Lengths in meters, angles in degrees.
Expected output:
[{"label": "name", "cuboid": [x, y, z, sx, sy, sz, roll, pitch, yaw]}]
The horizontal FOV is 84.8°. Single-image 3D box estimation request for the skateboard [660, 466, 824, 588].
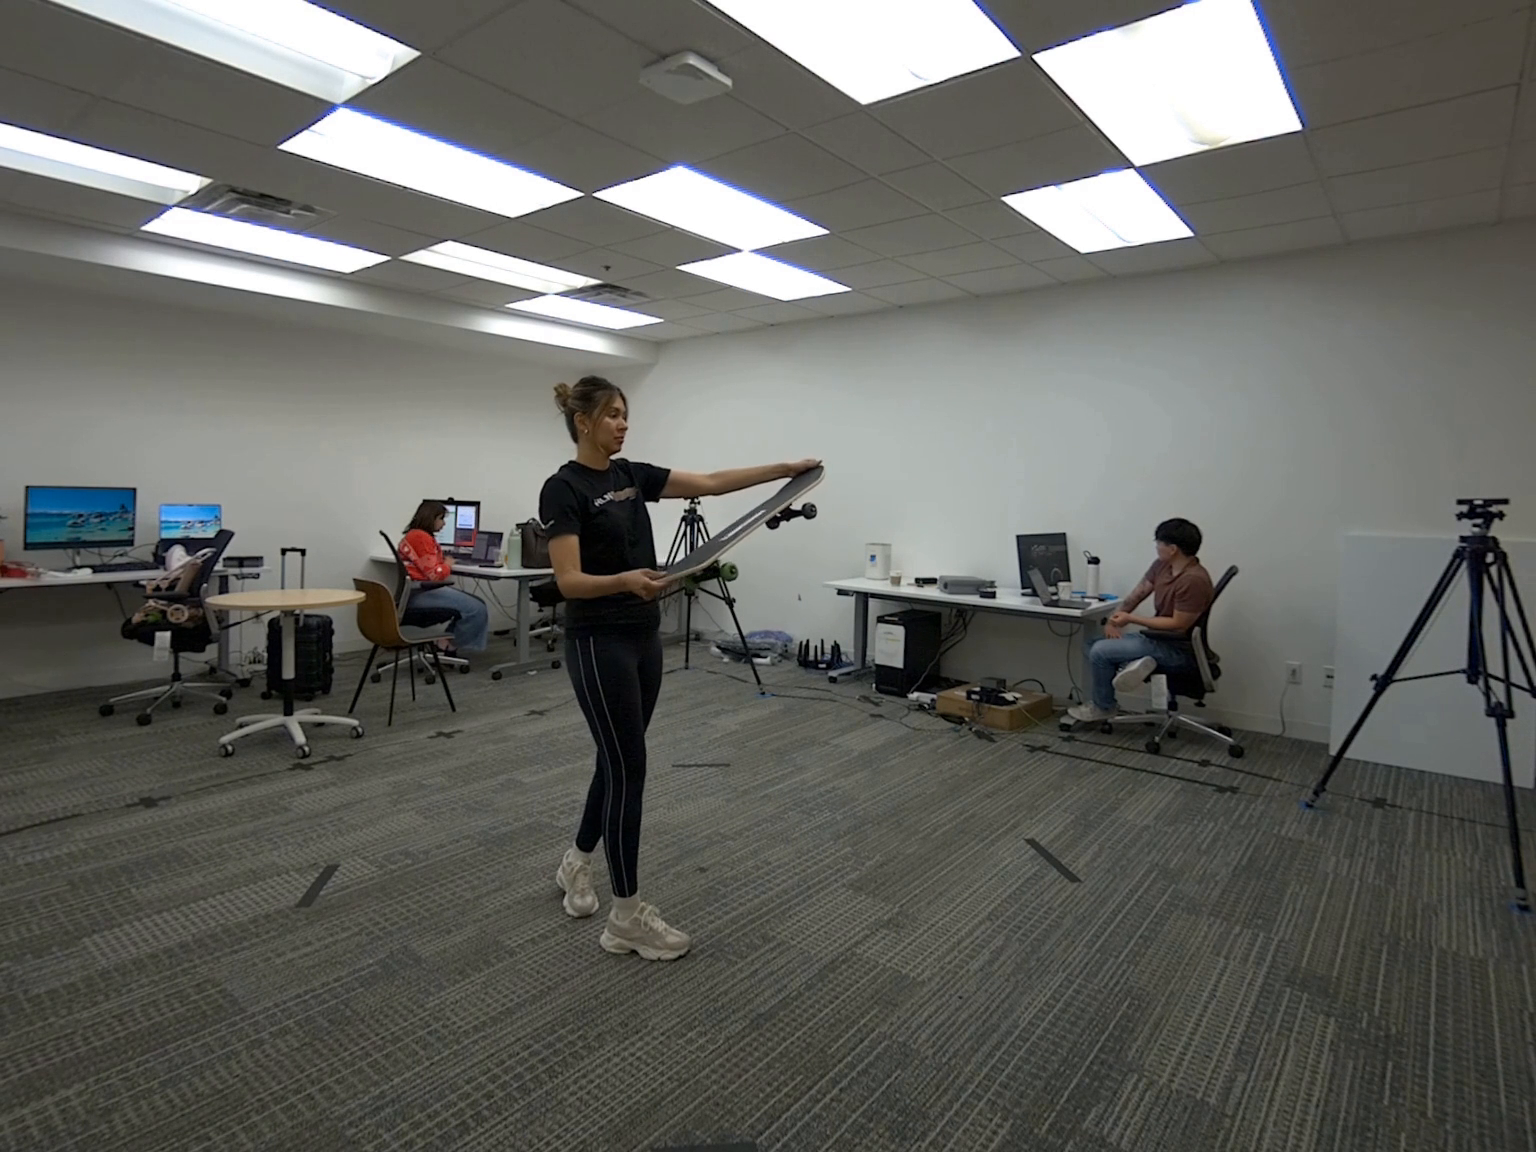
[{"label": "skateboard", "cuboid": [-0.062, -0.118, 2.440, 0.198, 0.109, 0.779, -14, 18, 45]}]
